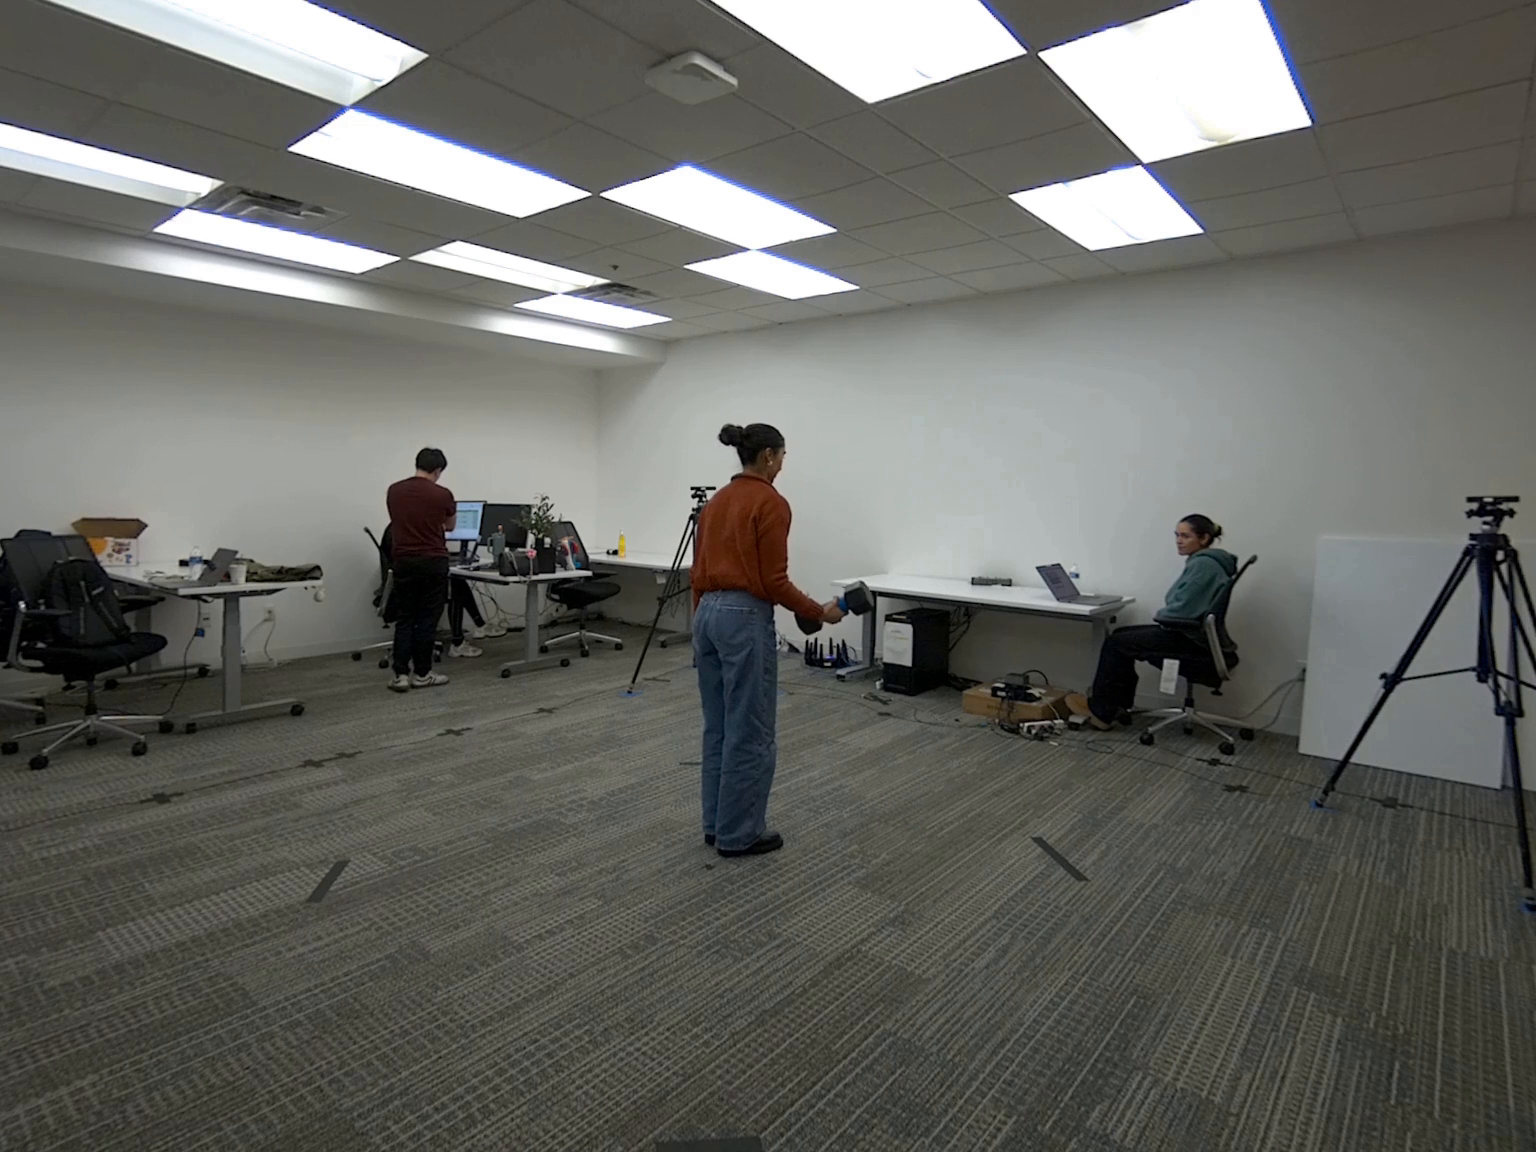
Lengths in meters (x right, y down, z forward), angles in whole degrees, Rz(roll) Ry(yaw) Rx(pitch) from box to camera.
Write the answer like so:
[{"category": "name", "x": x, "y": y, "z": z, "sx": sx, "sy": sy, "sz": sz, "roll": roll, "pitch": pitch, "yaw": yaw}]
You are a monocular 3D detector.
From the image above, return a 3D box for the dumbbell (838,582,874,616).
[{"category": "dumbbell", "x": 0.237, "y": 0.123, "z": 3.224, "sx": 0.297, "sy": 0.112, "sz": 0.118, "roll": -23, "pitch": -45, "yaw": 20}]
